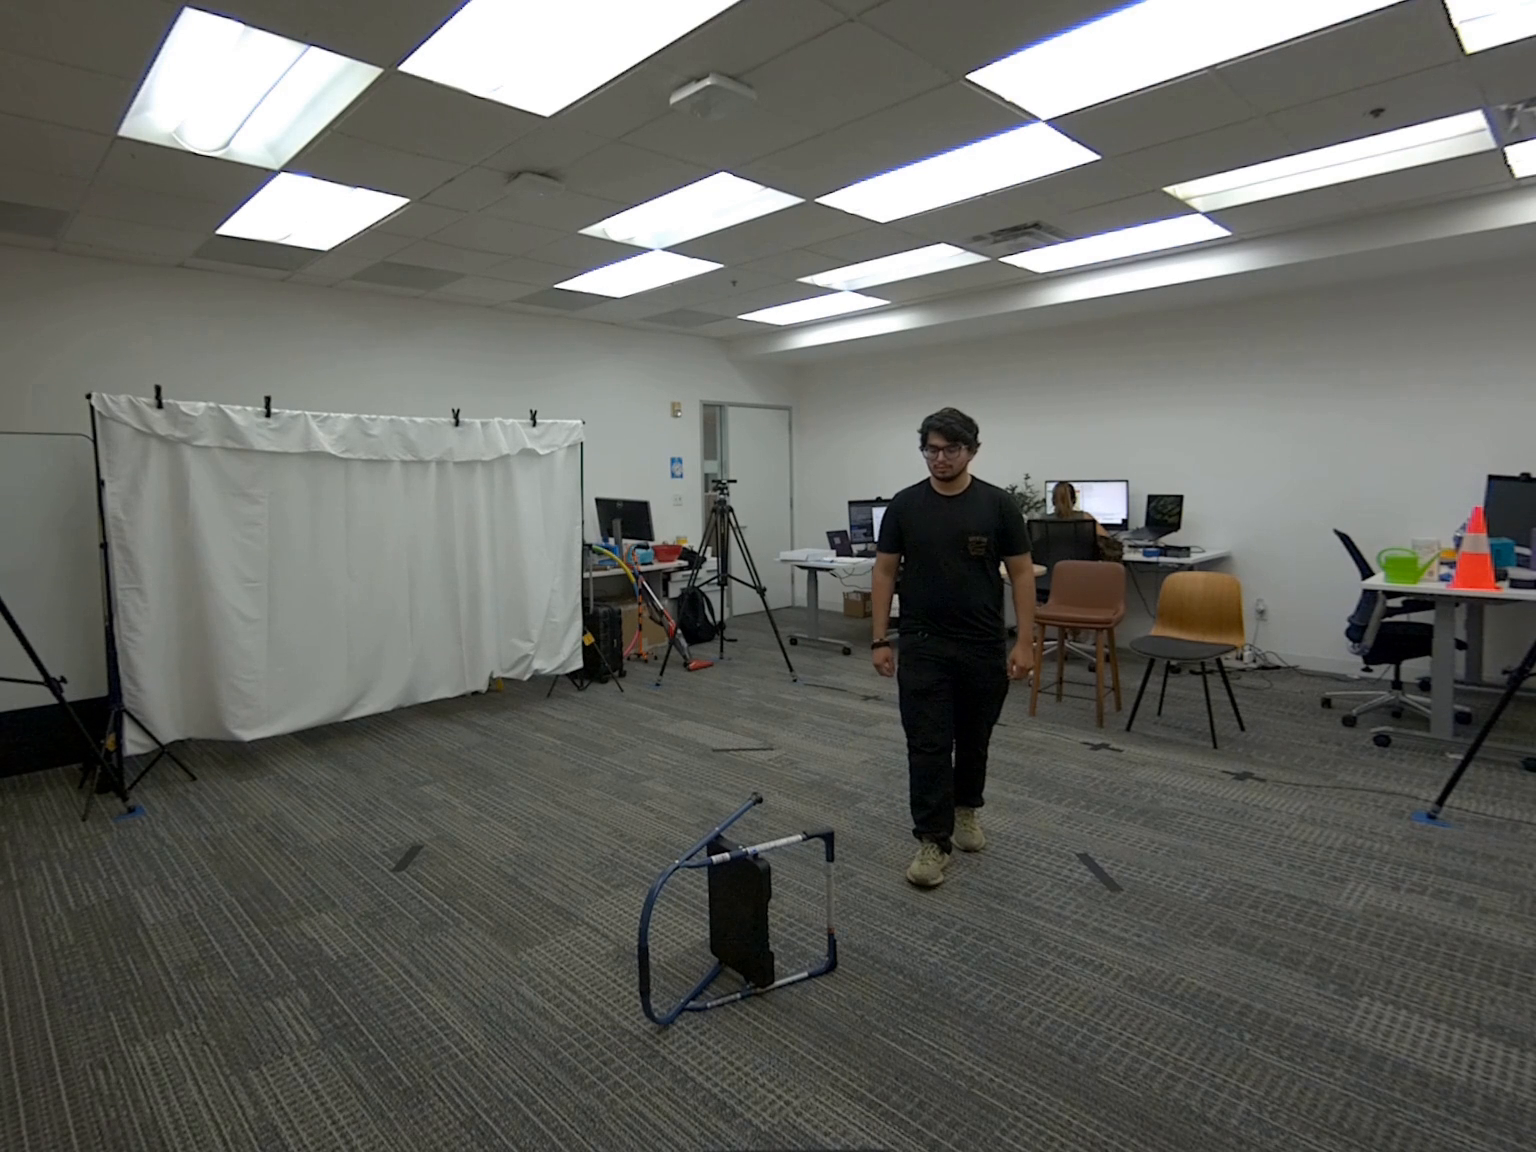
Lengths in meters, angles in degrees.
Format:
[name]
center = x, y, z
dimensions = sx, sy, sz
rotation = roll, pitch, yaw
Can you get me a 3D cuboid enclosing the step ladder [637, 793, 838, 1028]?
[step ladder]
center = -0.133, 0.929, 2.354
dimensions = 0.591, 0.428, 0.360
rotation = -8, 8, -41
